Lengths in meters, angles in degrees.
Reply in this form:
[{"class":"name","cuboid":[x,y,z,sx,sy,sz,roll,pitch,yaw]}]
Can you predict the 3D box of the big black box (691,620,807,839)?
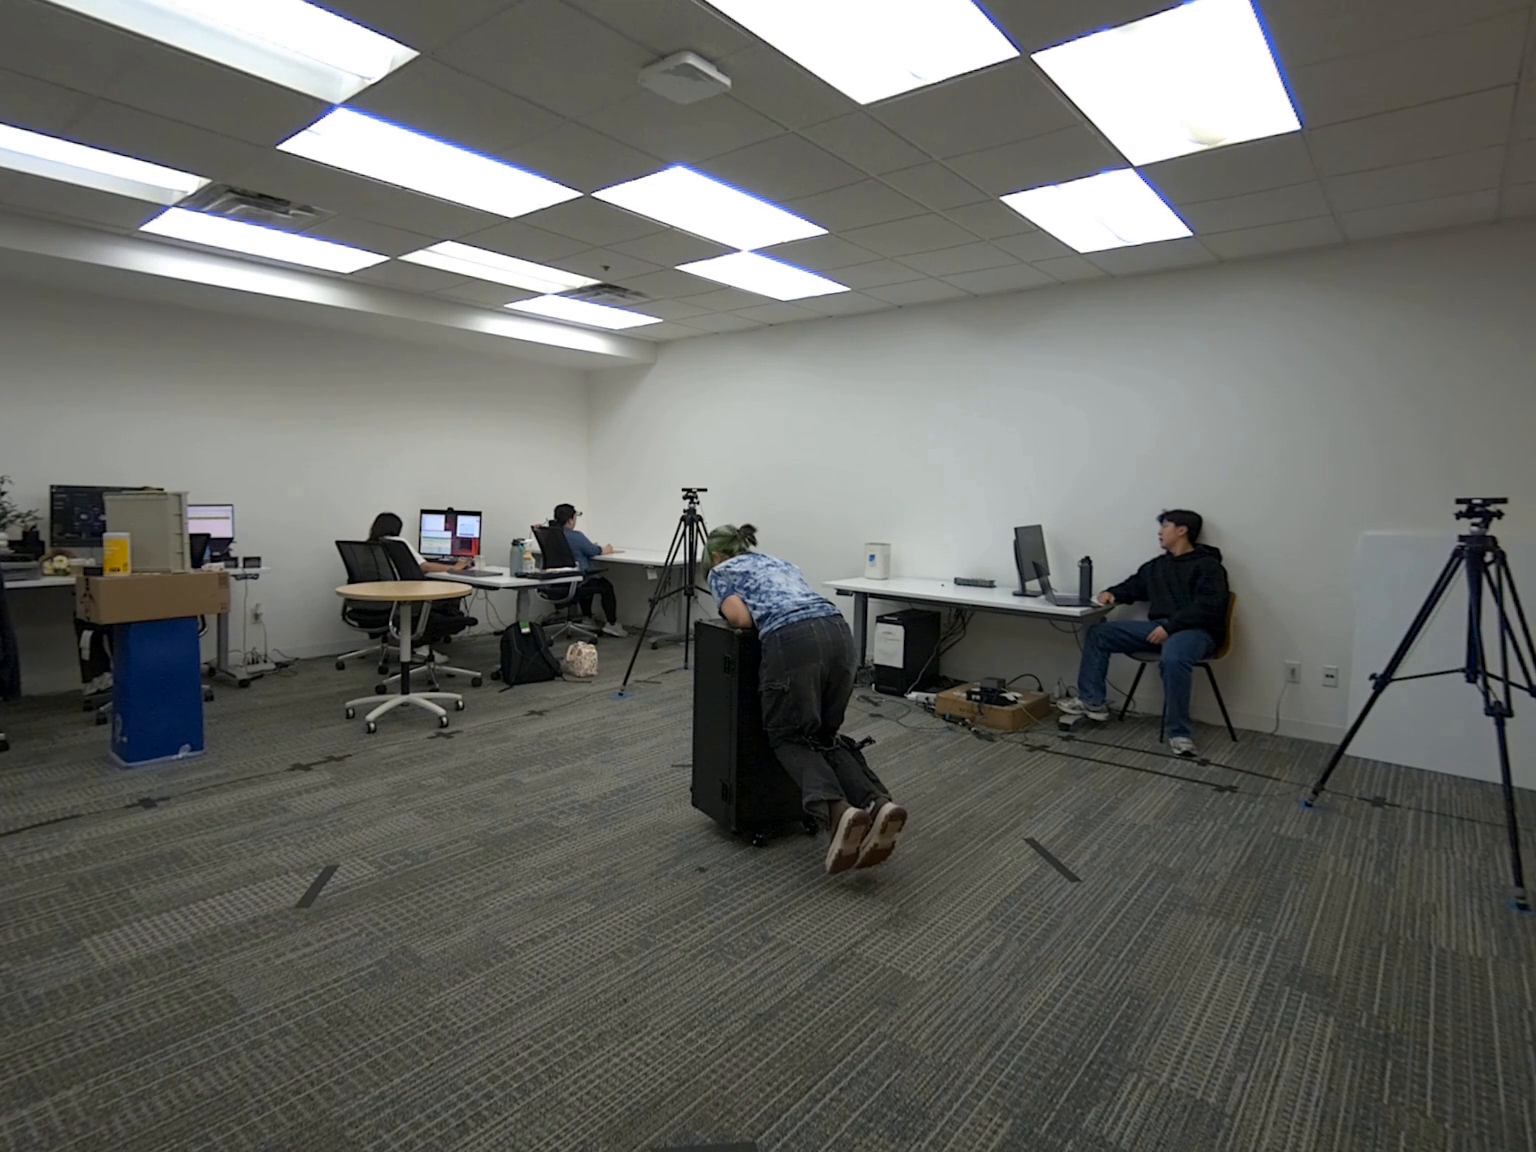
[{"class":"big black box","cuboid":[-0.033,0.557,3.517,0.507,0.860,0.408,0,3,-32]}]
